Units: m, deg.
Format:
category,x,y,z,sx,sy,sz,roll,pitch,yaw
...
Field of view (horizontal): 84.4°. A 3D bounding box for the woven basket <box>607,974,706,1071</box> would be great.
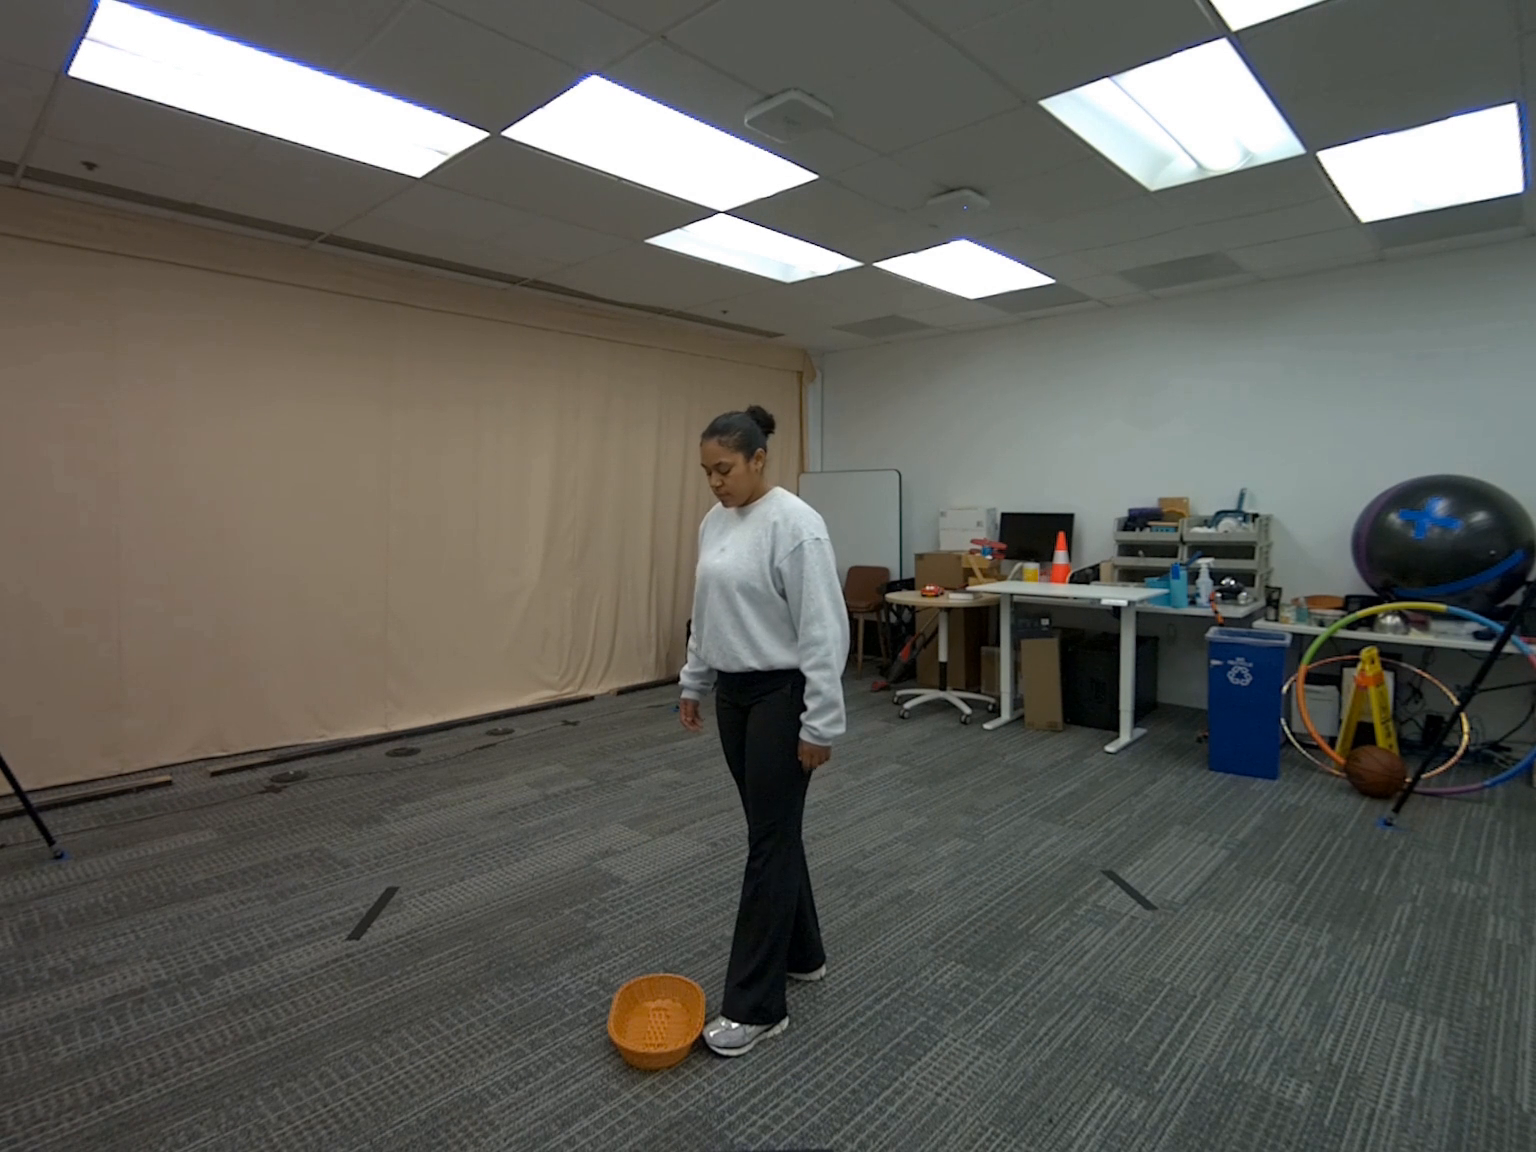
category,x,y,z,sx,sy,sz,roll,pitch,yaw
woven basket,-0.284,1.176,2.214,0.253,0.073,0.350,0,4,1
